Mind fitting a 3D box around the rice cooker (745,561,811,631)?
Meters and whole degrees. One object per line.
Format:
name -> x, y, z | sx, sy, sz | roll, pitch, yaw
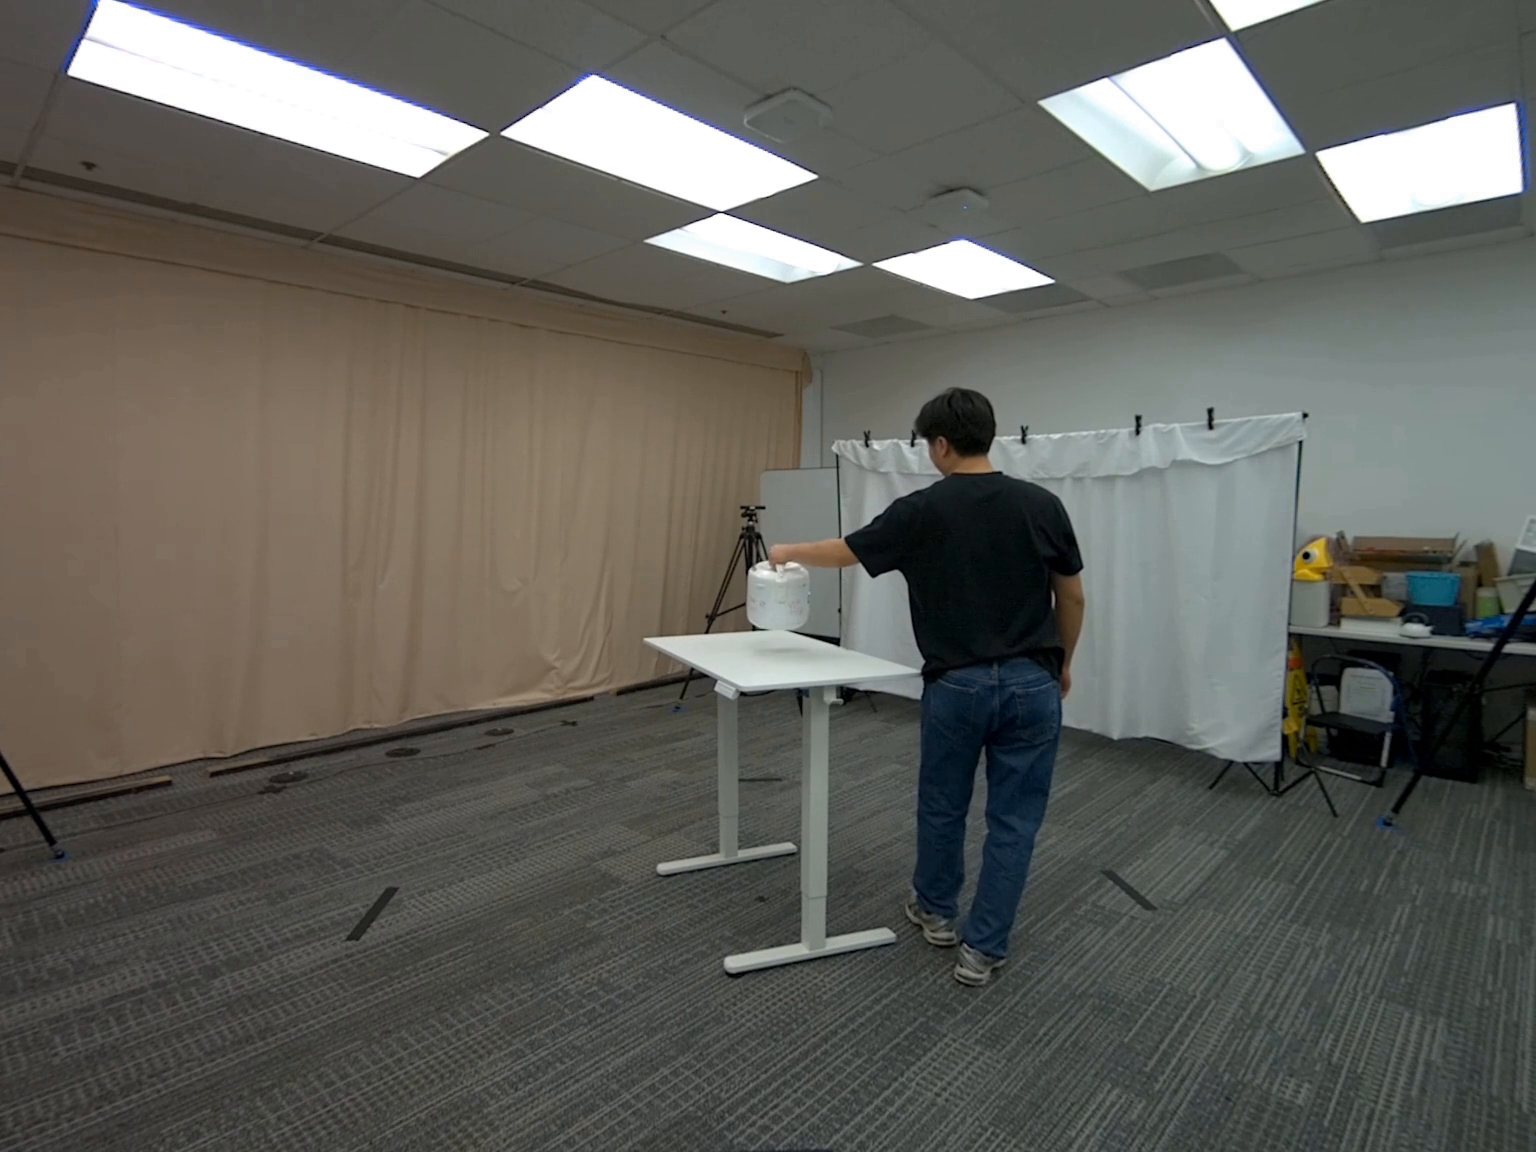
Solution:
rice cooker -> 0.038, 0.053, 2.919 | 0.217, 0.230, 0.223 | 0, 15, -1
